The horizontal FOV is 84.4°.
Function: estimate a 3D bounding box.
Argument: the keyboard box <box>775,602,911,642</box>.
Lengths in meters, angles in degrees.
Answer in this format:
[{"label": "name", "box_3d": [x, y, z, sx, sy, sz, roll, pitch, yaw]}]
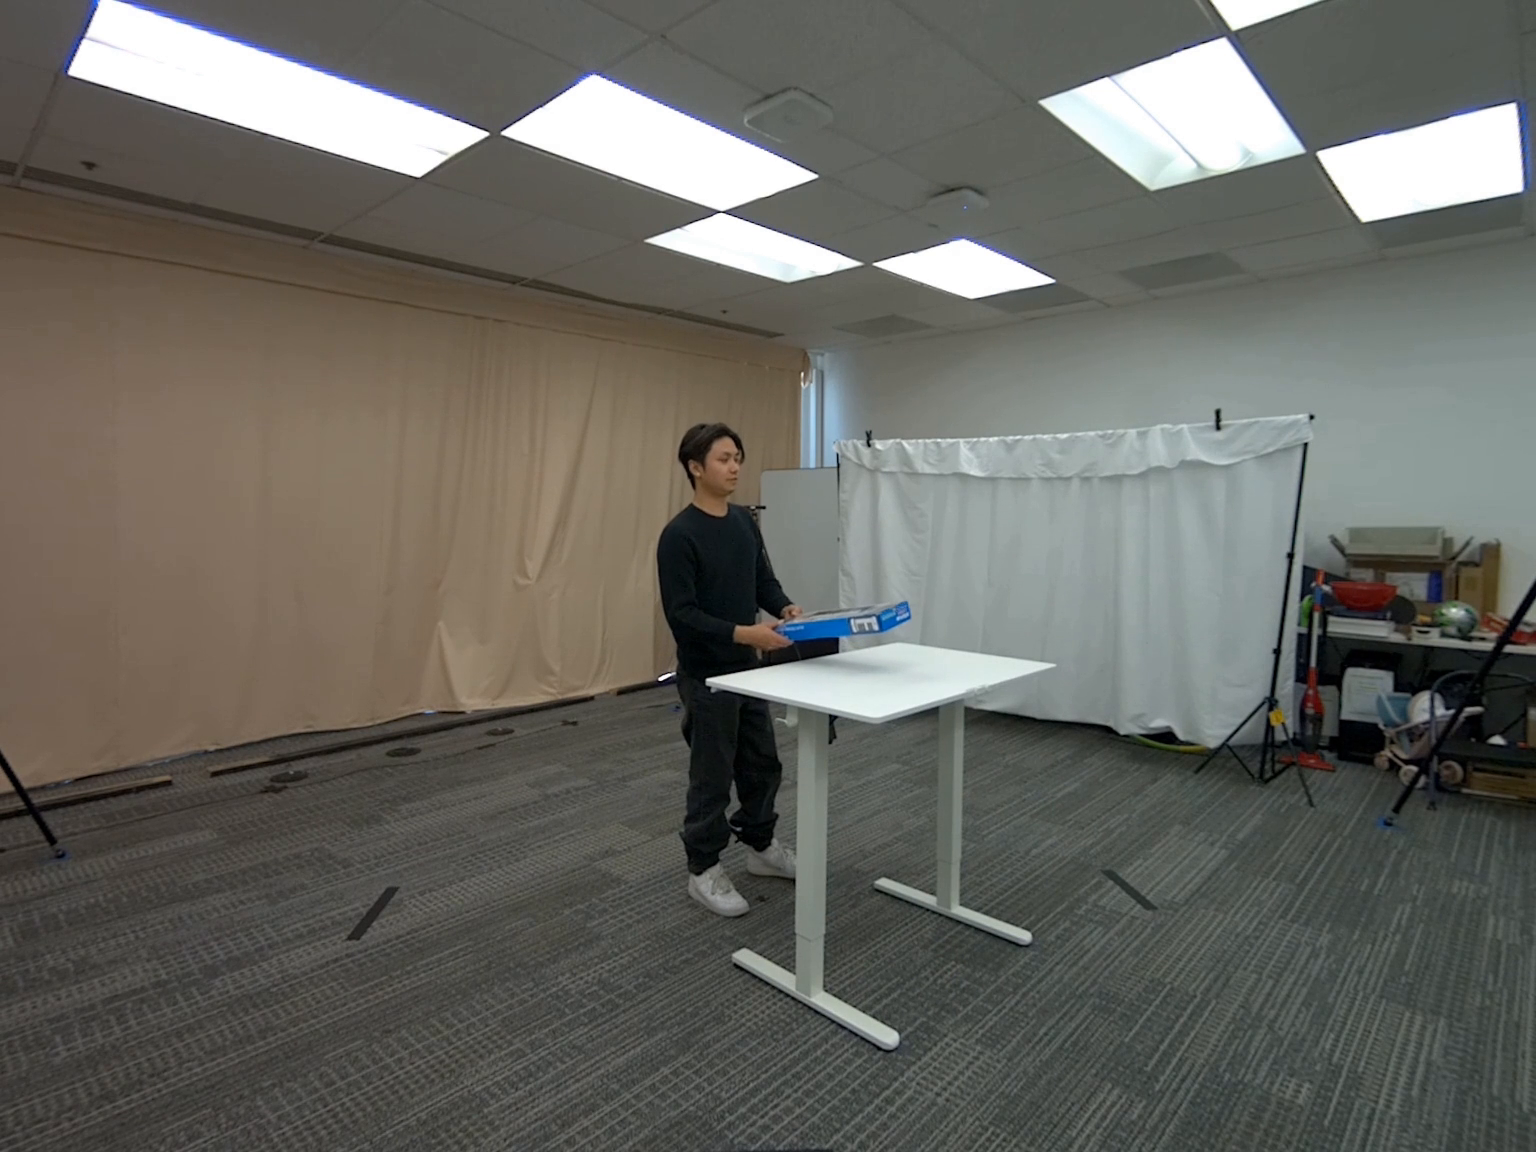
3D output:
[{"label": "keyboard box", "box_3d": [0.226, 0.151, 2.662, 0.449, 0.059, 0.171, -10, 4, 42]}]
